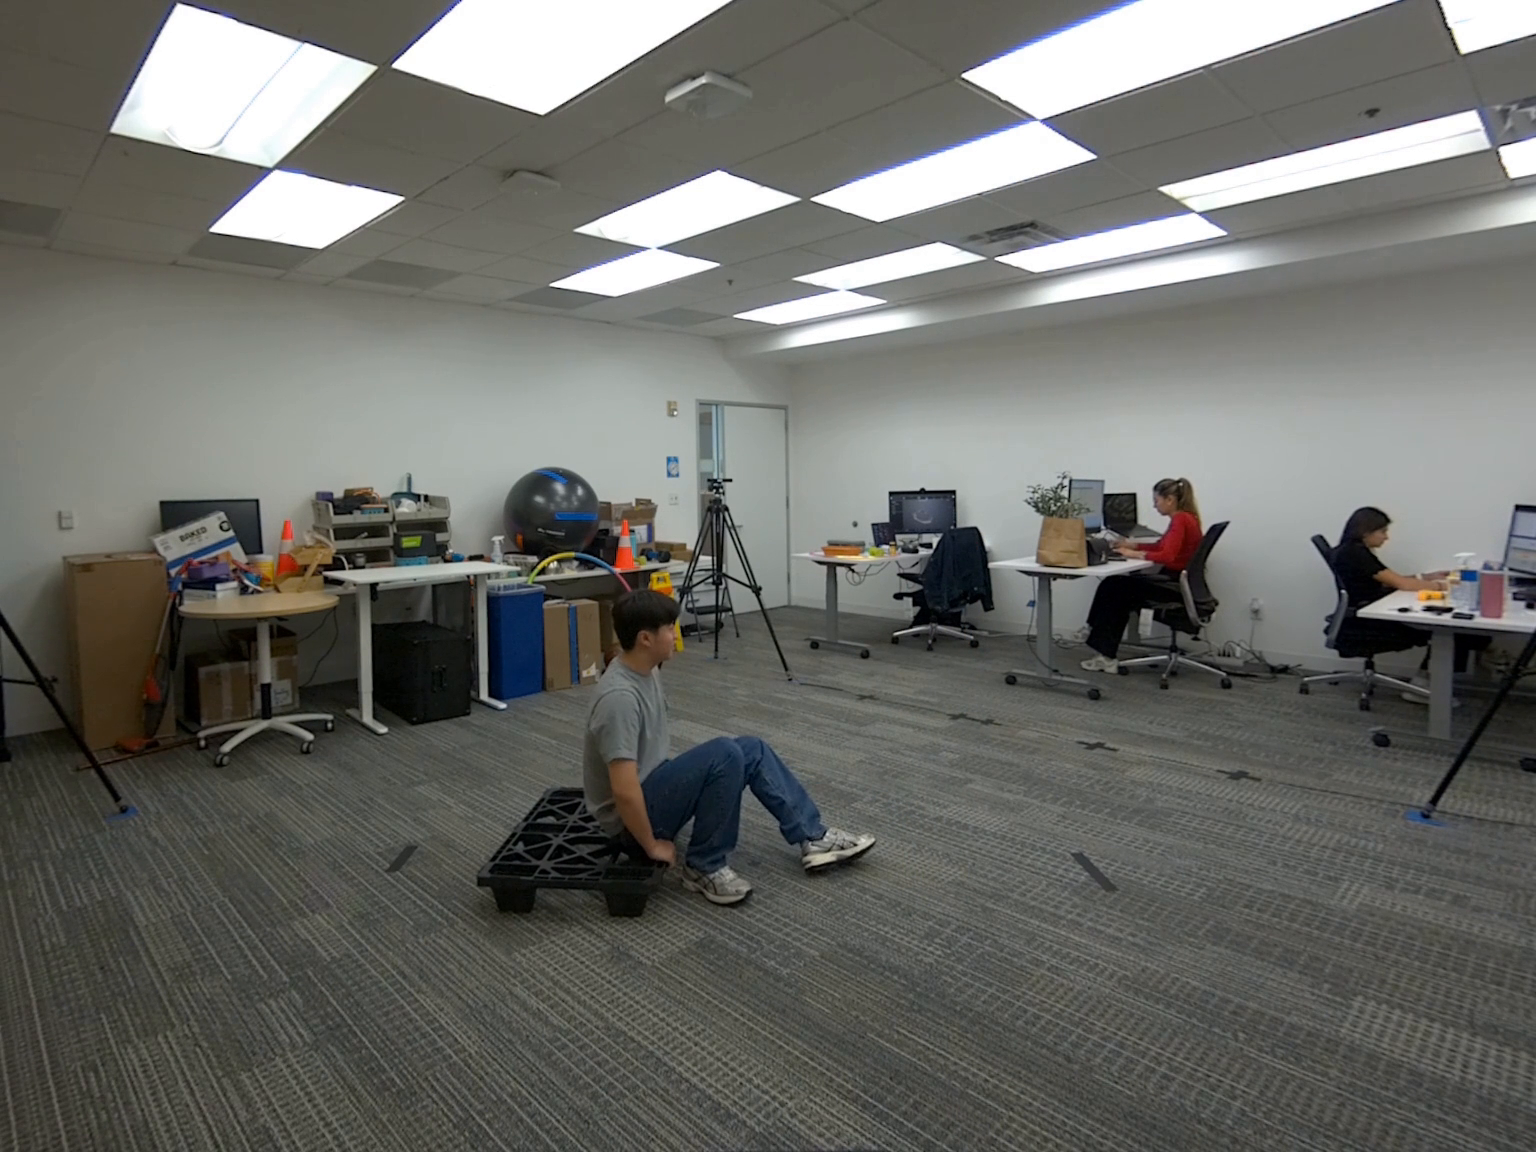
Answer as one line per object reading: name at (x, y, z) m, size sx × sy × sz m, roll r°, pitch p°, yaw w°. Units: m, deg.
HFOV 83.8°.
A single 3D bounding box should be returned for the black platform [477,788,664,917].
black platform at (-0.621, 0.983, 3.121) m, size 0.608 × 0.142 × 0.806 m, roll 0°, pitch 7°, yaw 4°
